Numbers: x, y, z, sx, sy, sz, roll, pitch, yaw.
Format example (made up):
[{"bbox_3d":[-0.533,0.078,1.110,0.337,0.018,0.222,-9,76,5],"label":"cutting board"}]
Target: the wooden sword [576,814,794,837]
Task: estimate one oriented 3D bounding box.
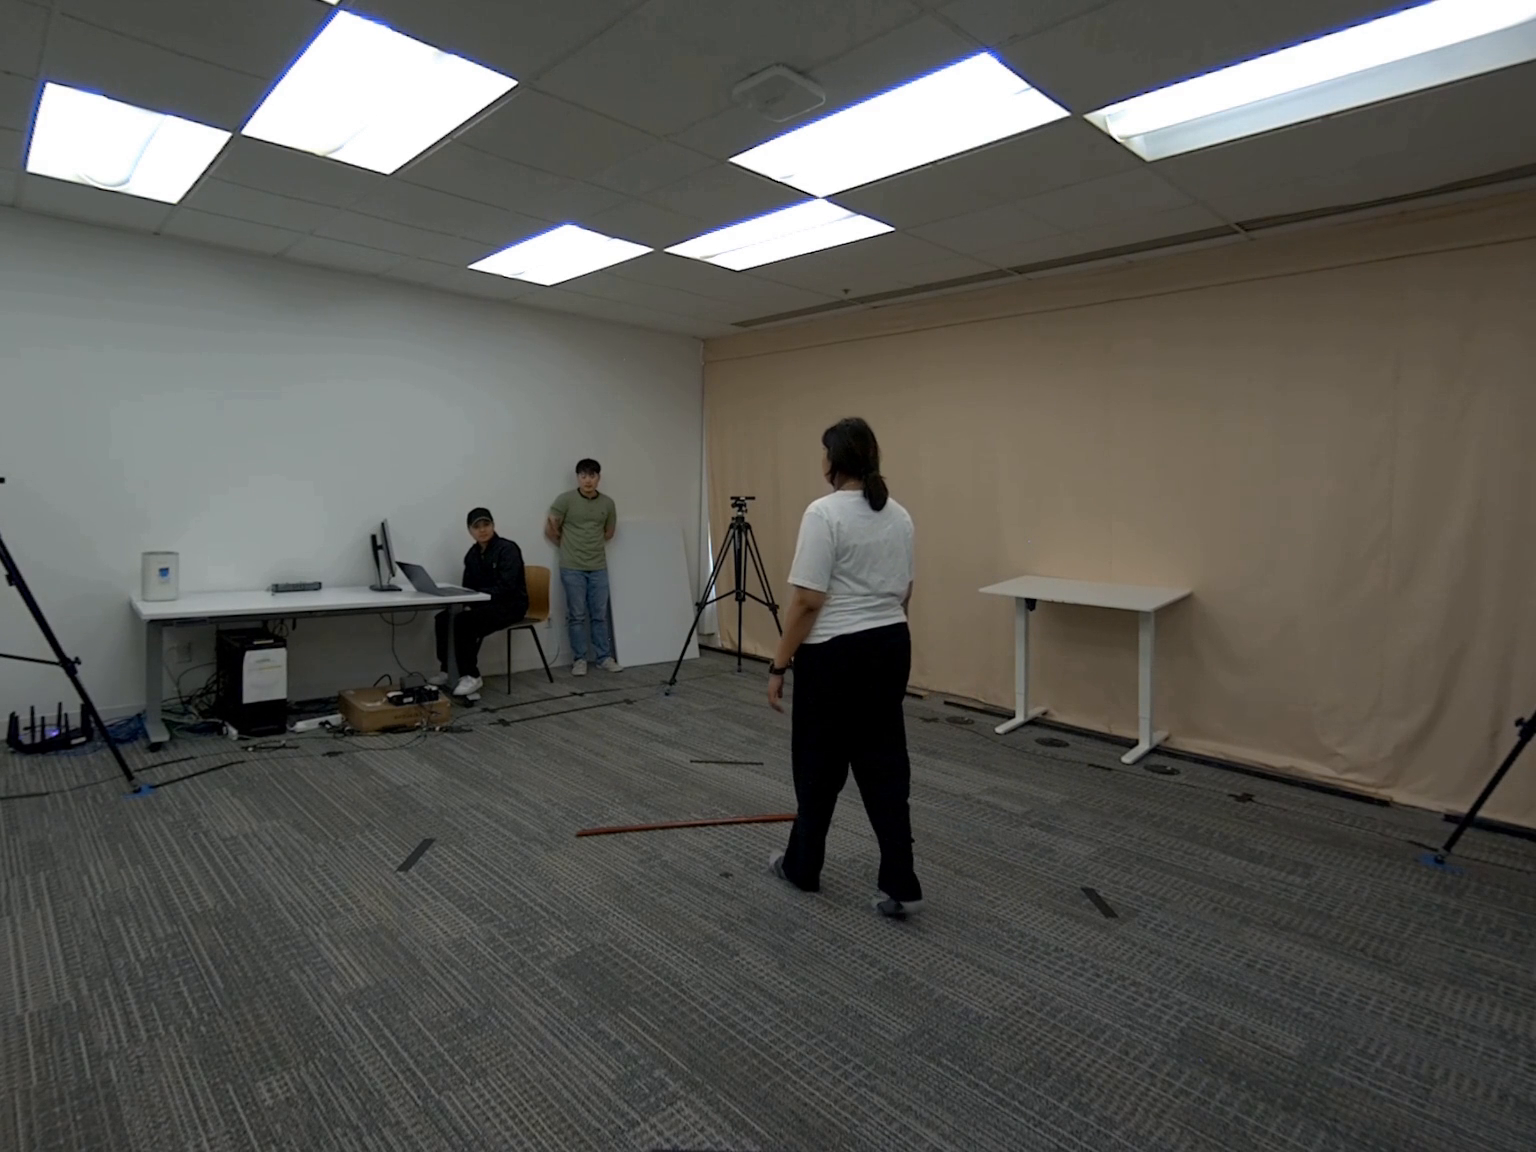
[{"bbox_3d":[-0.300,1.041,3.552,1.013,0.024,0.052,0,7,-14],"label":"wooden sword"}]
